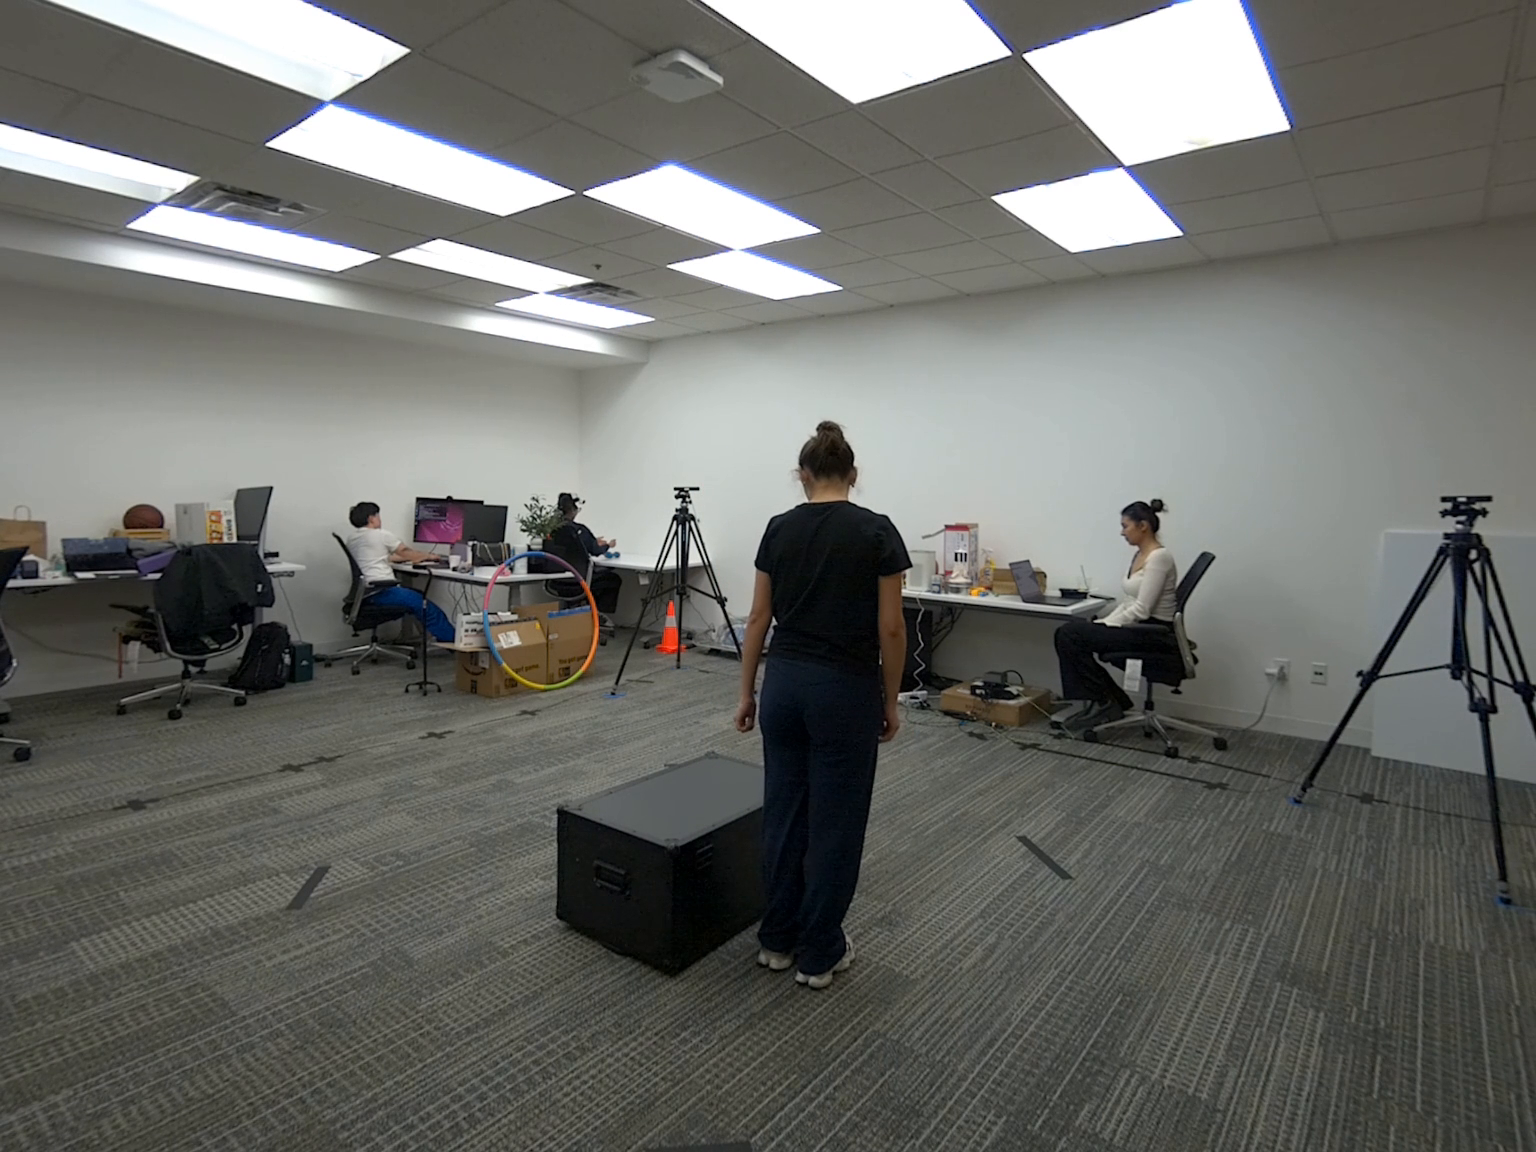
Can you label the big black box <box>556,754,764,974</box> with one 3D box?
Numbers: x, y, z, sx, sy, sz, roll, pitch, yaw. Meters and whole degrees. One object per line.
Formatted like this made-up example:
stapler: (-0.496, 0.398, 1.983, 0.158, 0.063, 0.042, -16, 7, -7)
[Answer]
big black box: (-0.220, 0.899, 2.869, 0.538, 0.394, 0.837, 5, 7, 36)
